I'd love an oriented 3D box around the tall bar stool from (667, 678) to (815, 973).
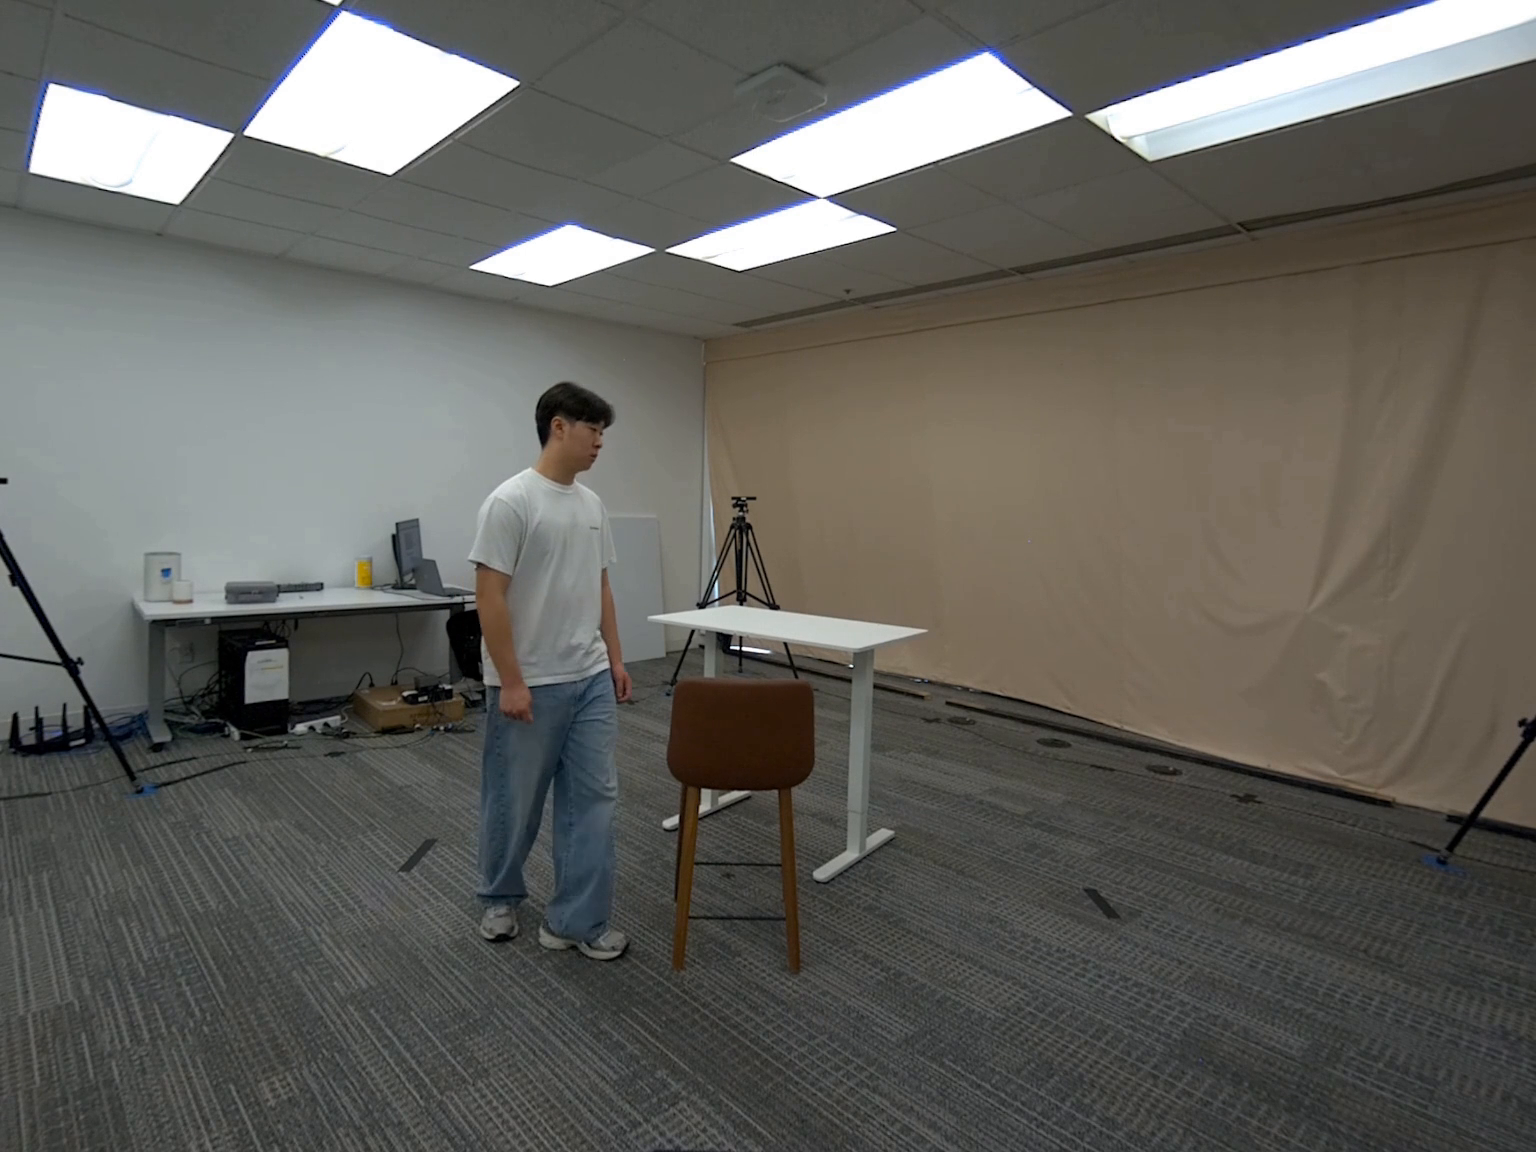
[{"bbox_3d":[-0.106,0.715,2.666,0.455,0.886,0.470,0,5,-3],"label":"tall bar stool"}]
